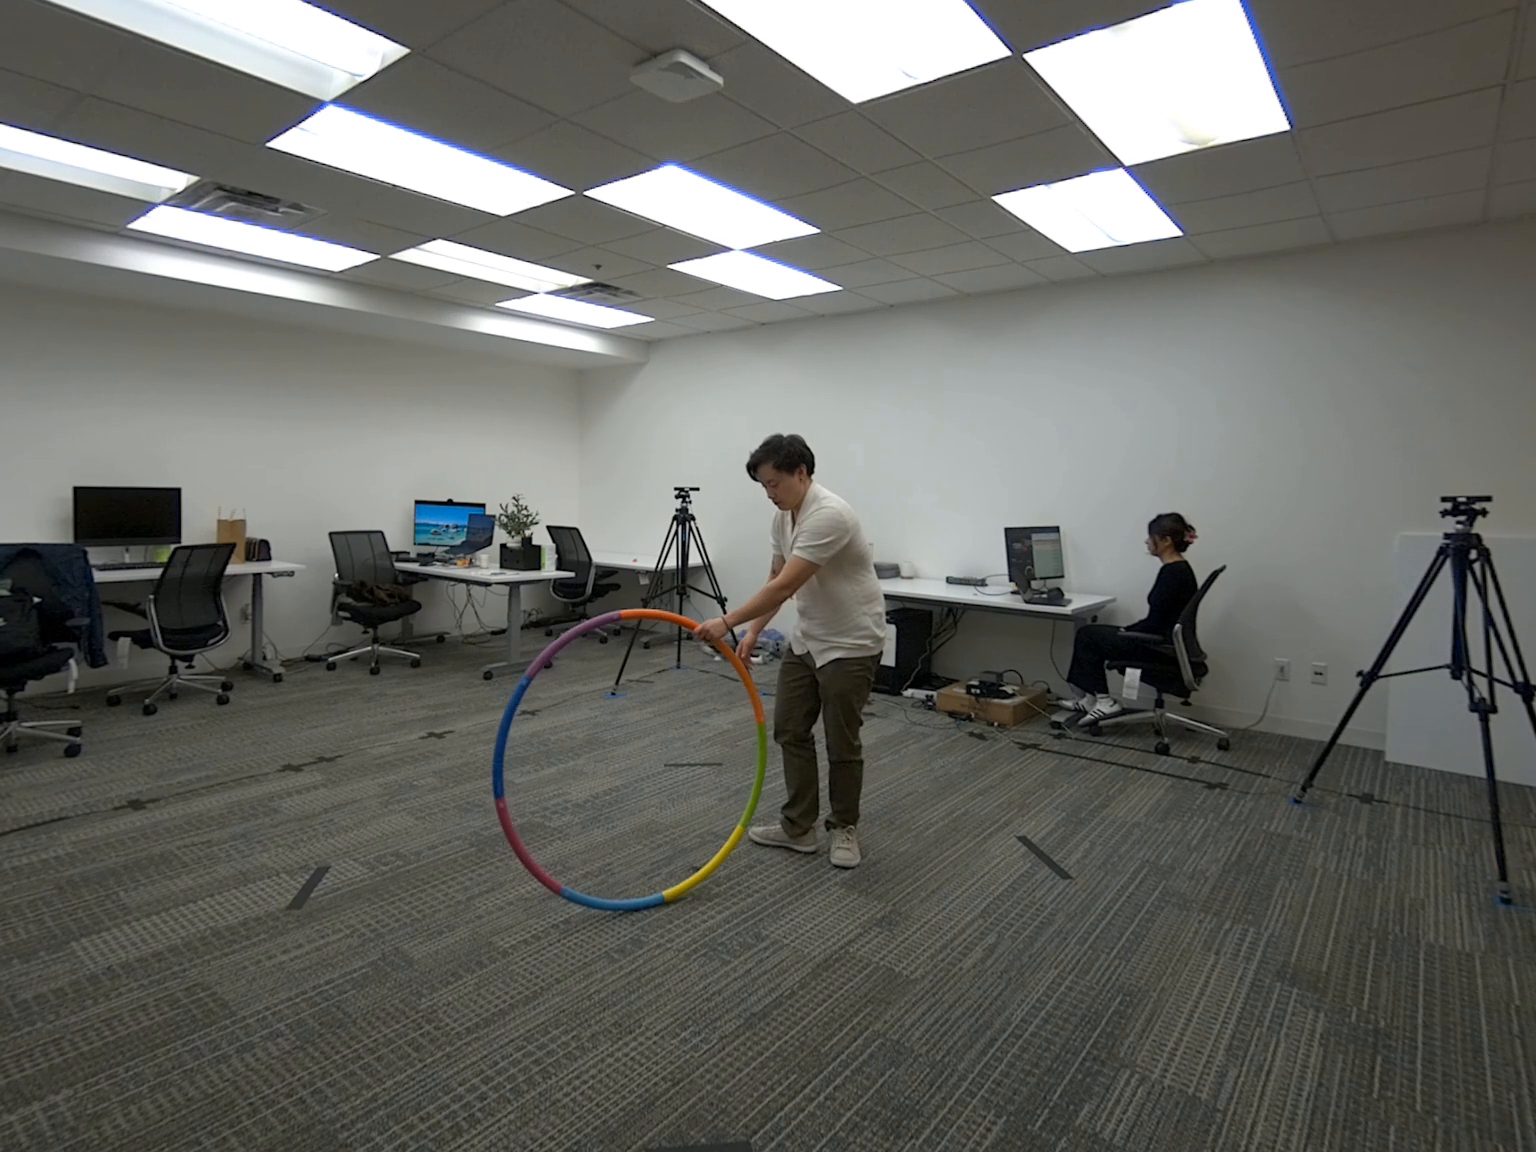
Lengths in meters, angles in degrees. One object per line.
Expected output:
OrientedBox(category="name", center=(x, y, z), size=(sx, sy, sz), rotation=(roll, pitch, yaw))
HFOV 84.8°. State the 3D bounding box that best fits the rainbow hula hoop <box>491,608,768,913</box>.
OrientedBox(category="rainbow hula hoop", center=(-0.425, 0.607, 2.849), size=(0.953, 0.983, 0.036), rotation=(-2, -5, -29))
